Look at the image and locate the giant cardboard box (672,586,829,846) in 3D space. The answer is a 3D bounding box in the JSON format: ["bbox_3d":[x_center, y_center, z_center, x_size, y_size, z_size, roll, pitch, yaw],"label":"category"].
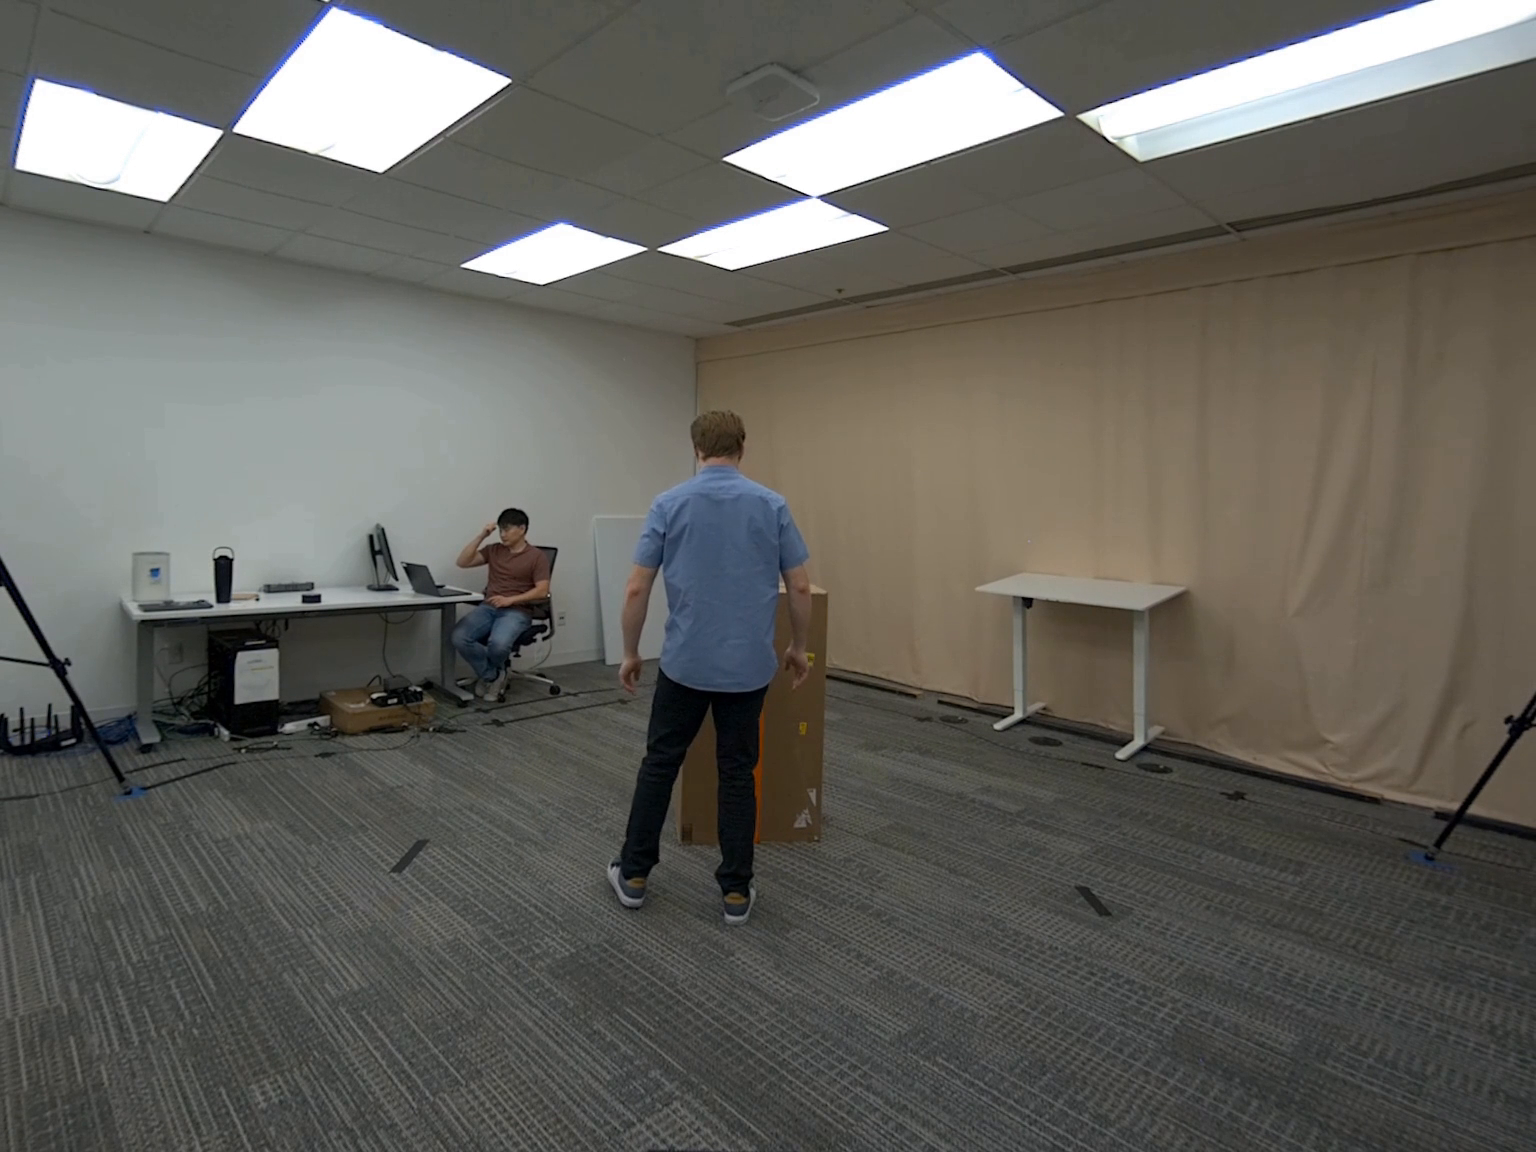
[{"bbox_3d":[-0.085,0.554,3.582,0.581,1.025,0.450,1,3,-6],"label":"giant cardboard box"}]
